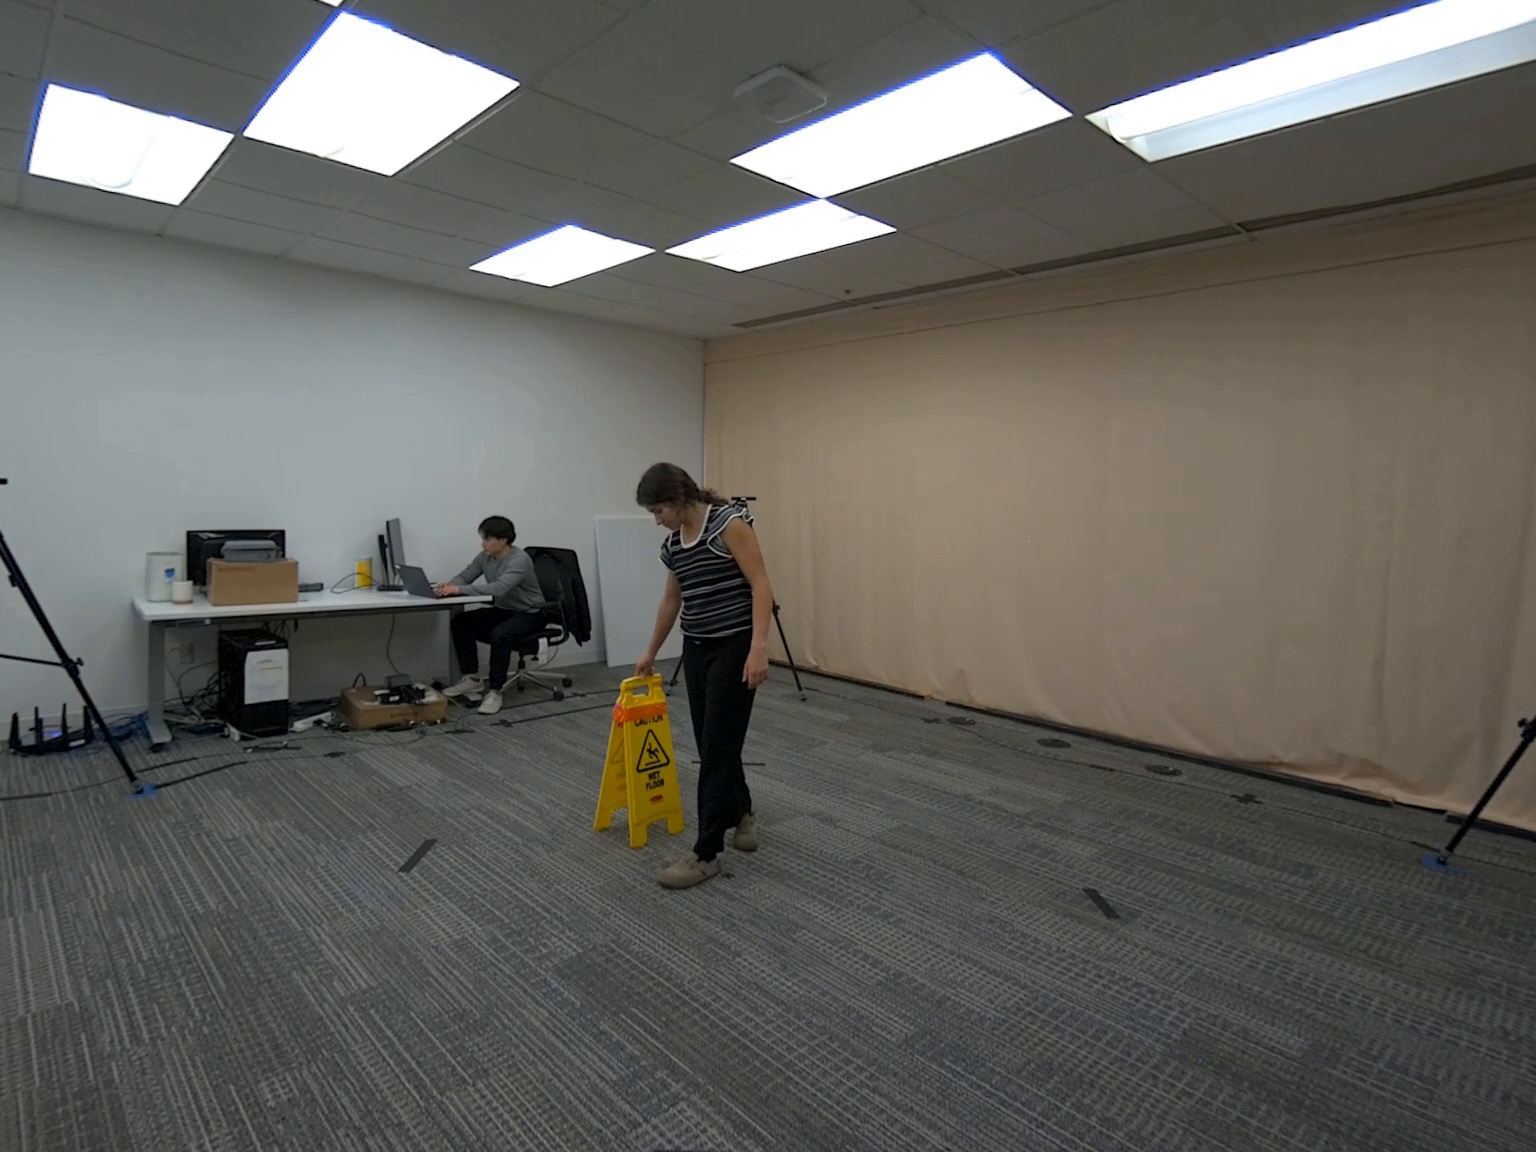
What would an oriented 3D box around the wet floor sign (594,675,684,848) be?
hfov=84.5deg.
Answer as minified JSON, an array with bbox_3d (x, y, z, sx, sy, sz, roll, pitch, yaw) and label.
[{"bbox_3d":[-0.537,0.738,3.492,0.297,0.645,0.276,2,3,43],"label":"wet floor sign"}]
